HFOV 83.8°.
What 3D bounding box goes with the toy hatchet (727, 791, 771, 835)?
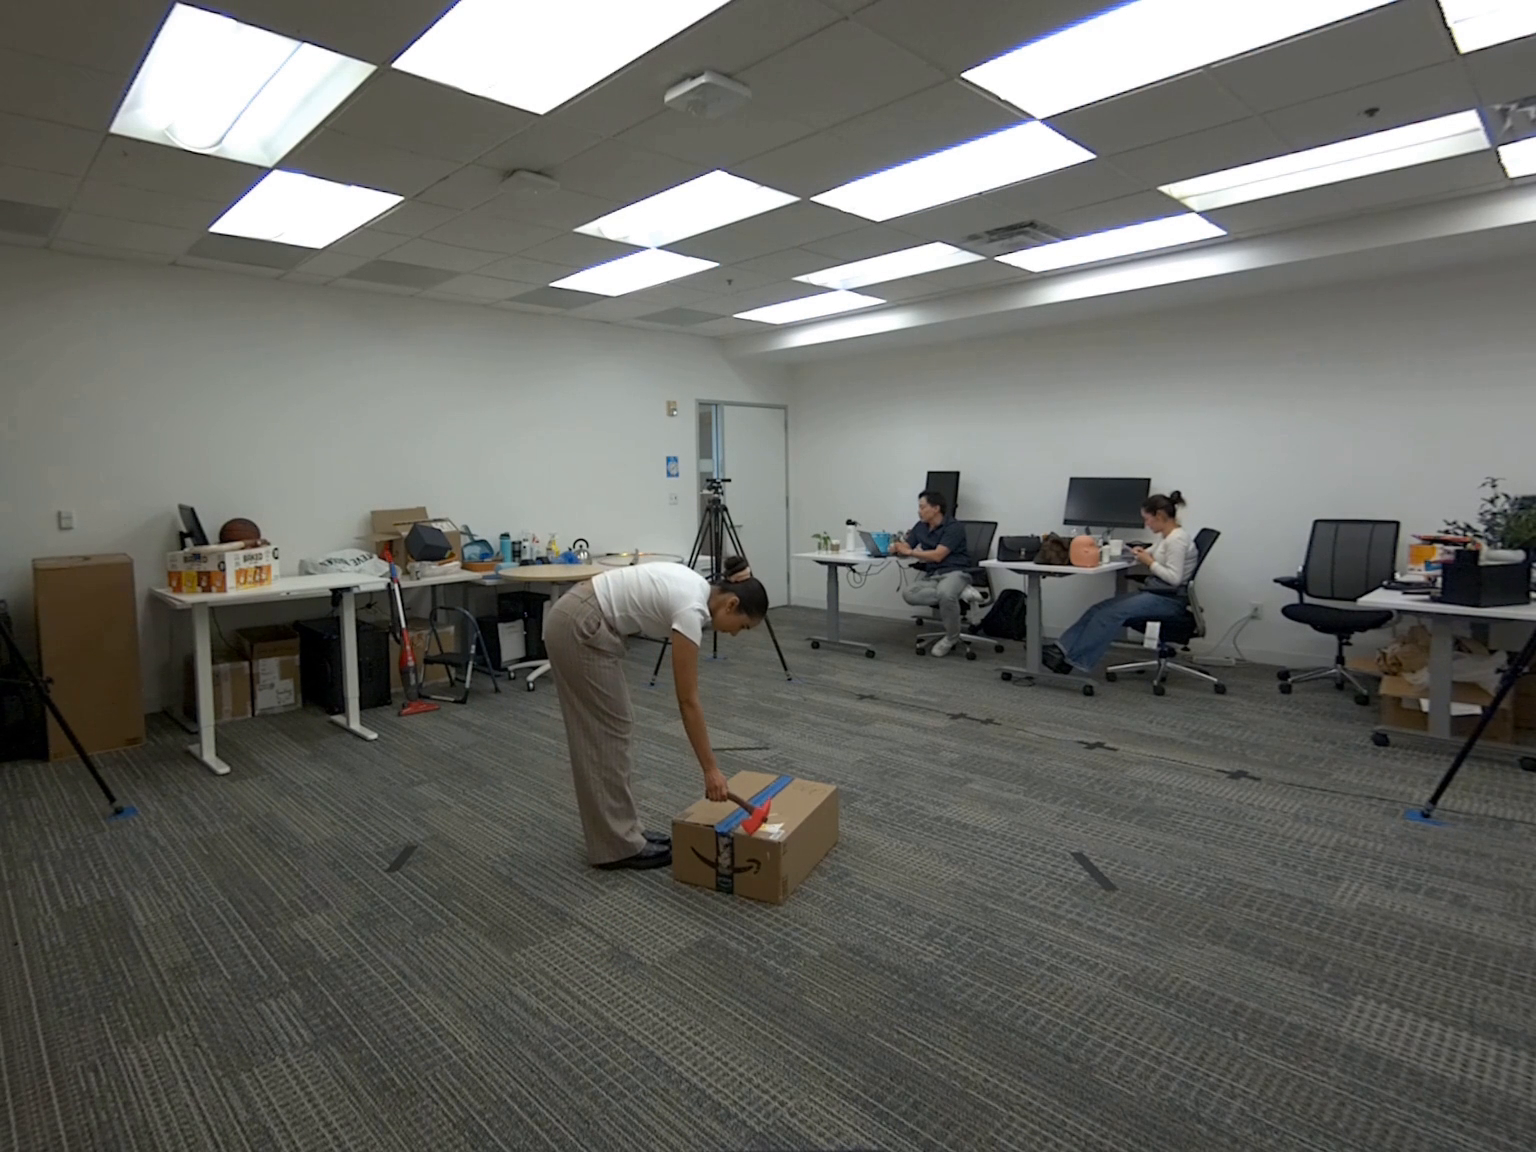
[{"bbox_3d":[-0.109,0.799,2.899,0.277,0.133,0.028,0,-28,34],"label":"toy hatchet"}]
